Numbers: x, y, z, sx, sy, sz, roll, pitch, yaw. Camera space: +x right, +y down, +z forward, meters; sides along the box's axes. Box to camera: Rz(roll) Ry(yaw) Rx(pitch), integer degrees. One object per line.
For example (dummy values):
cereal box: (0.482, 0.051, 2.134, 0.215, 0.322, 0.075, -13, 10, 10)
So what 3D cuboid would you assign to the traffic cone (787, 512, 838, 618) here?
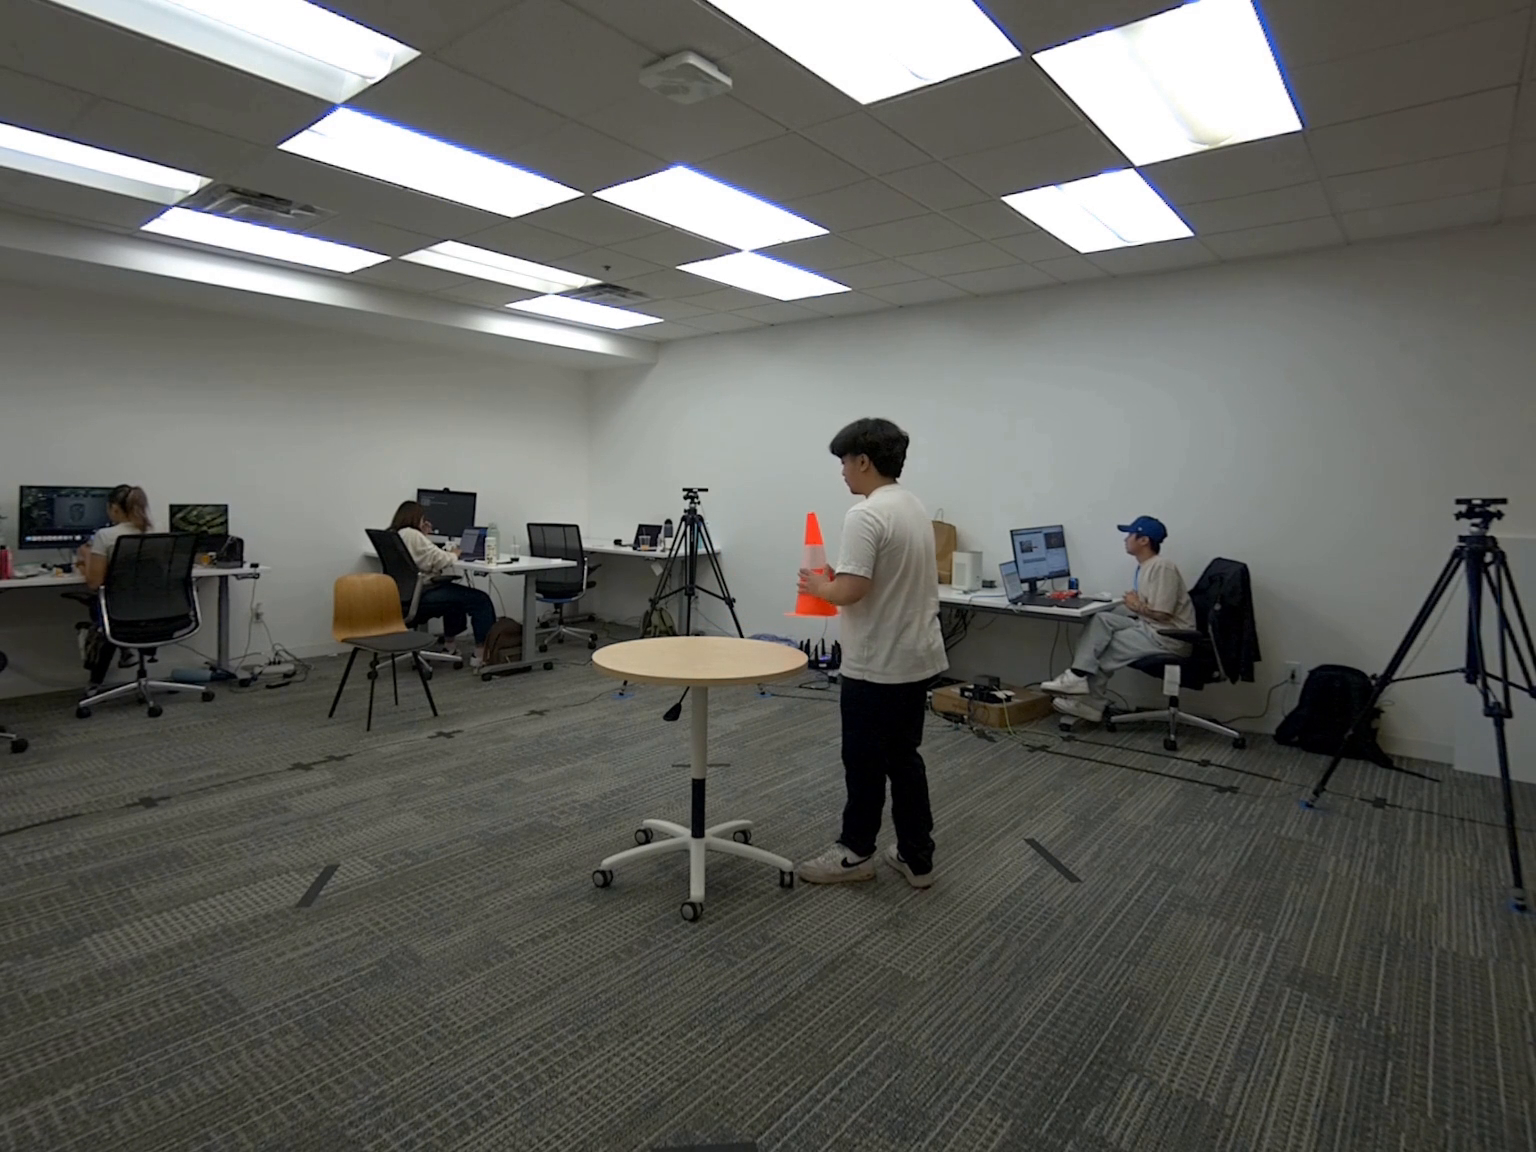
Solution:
traffic cone: (0.168, -0.055, 3.218, 0.208, 0.383, 0.201, -4, 2, 23)
